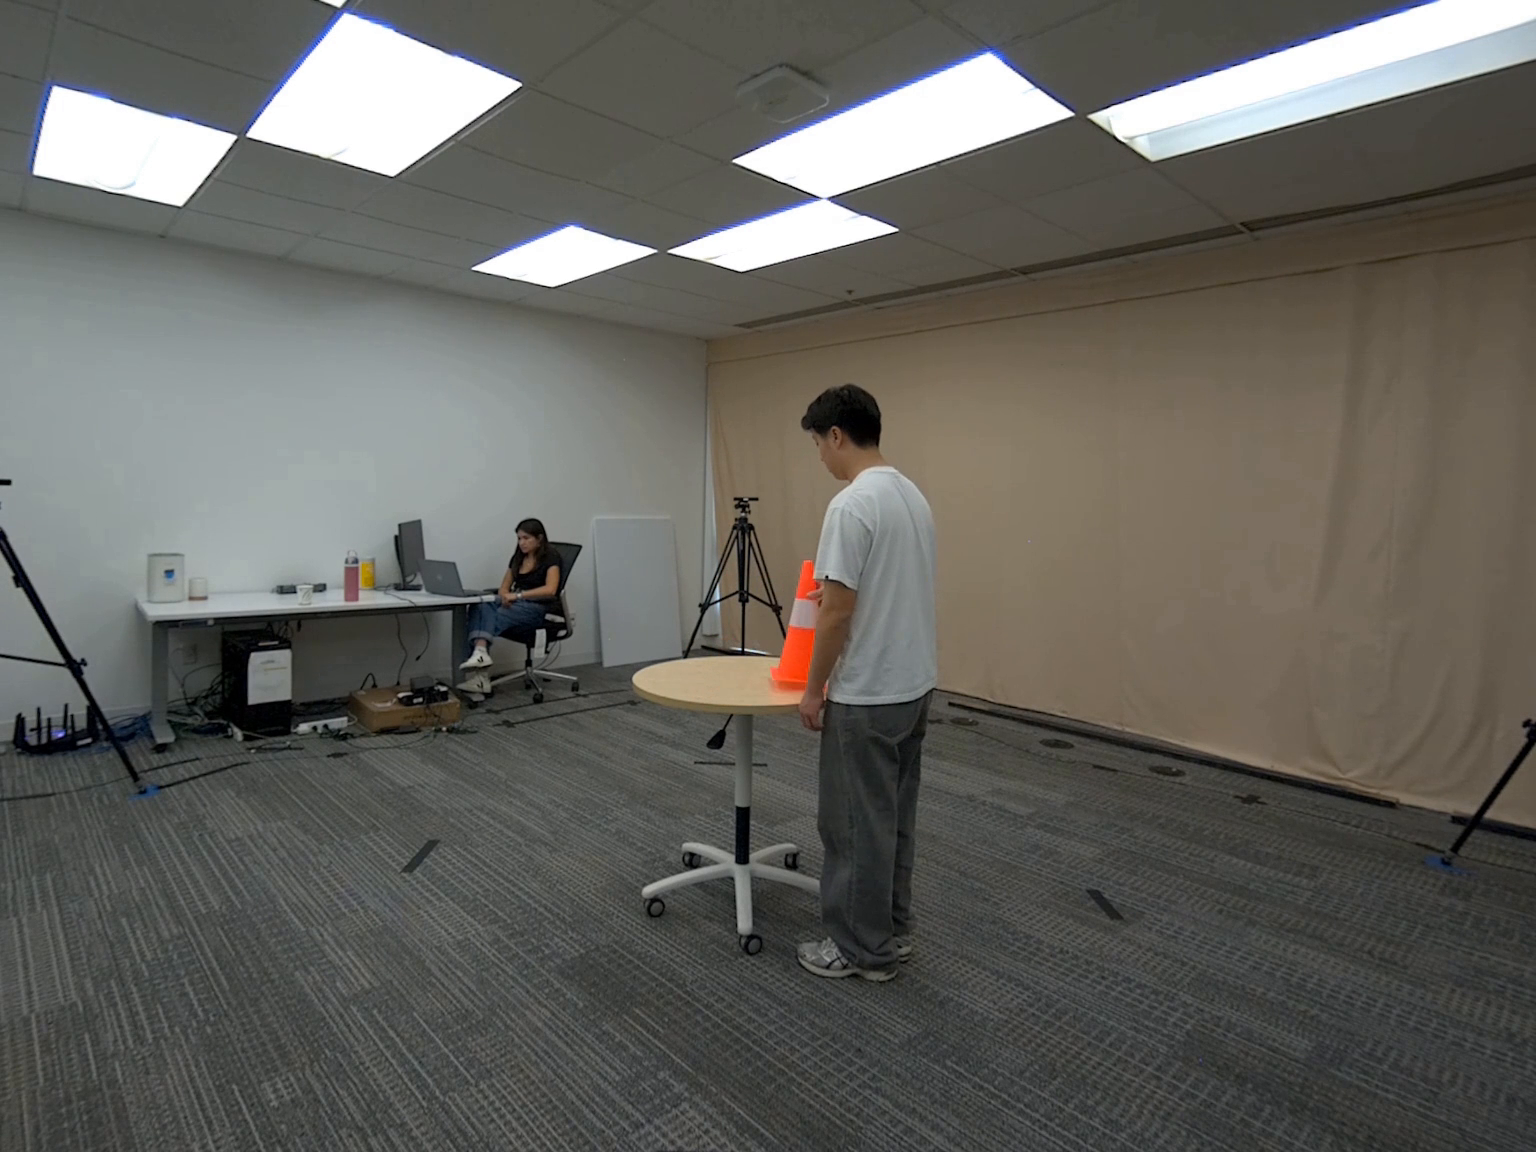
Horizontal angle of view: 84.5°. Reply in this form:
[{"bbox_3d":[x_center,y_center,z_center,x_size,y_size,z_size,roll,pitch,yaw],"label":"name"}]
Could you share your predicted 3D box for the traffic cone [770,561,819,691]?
[{"bbox_3d":[0.118,0.144,2.751,0.203,0.383,0.205,6,3,0],"label":"traffic cone"}]
